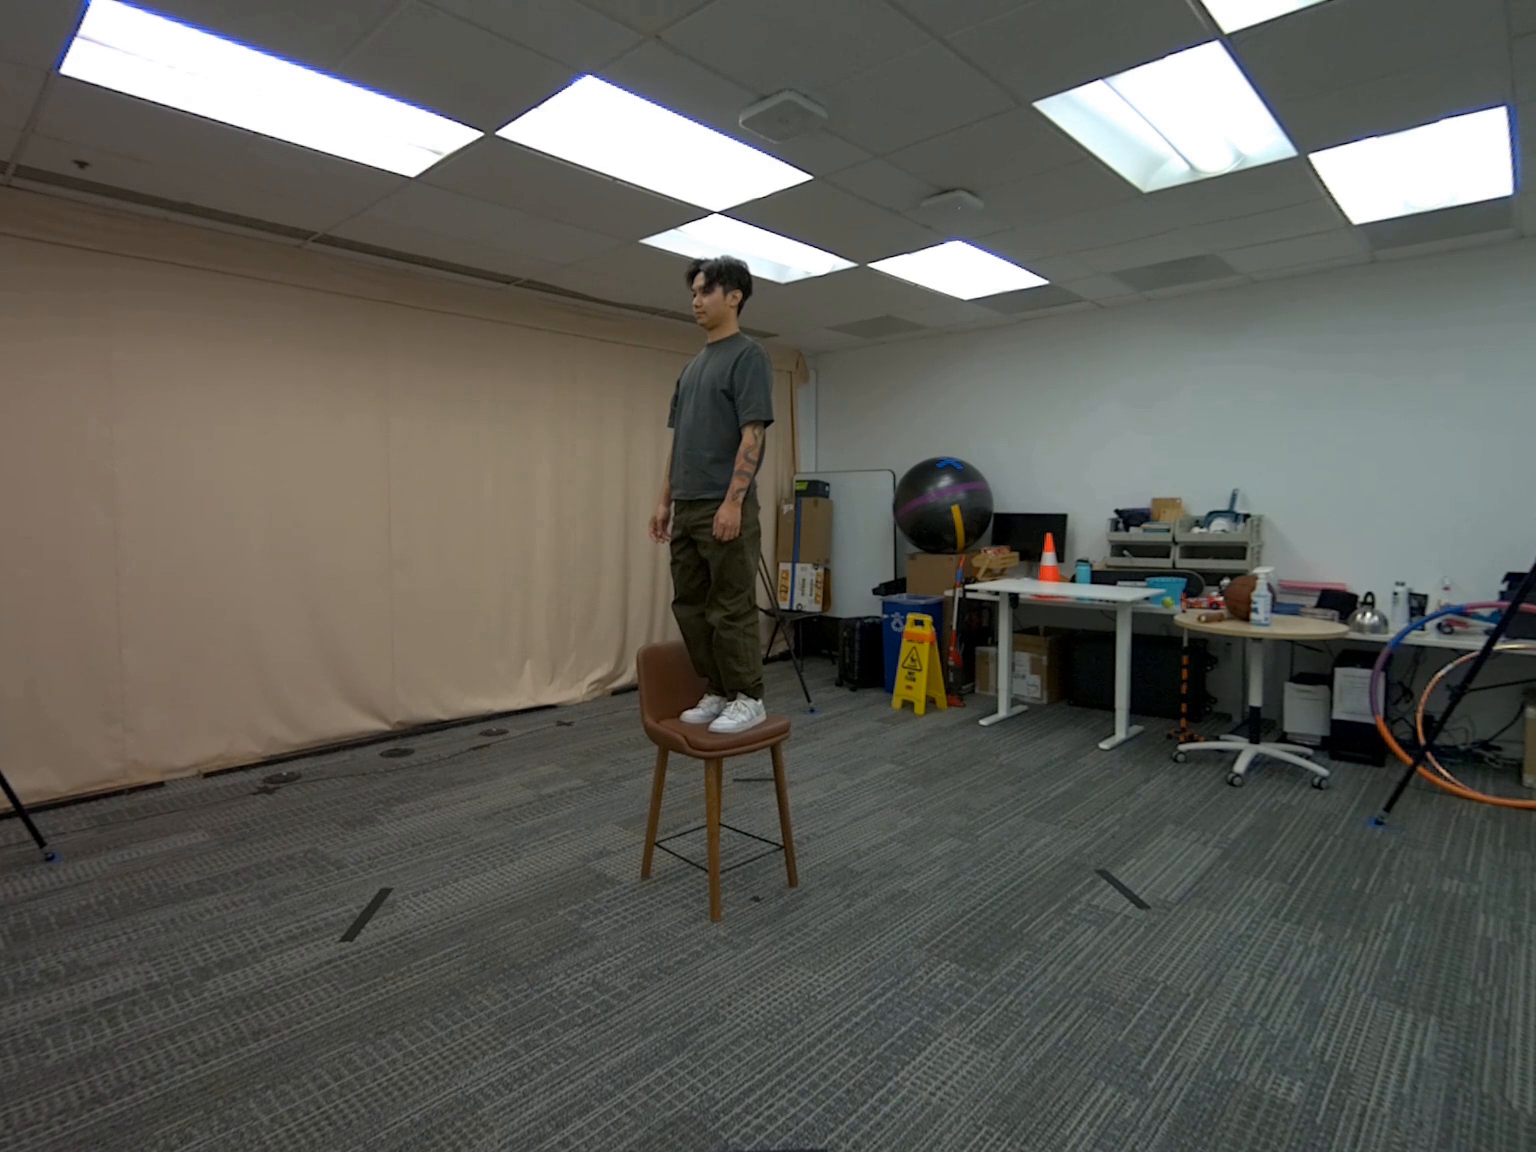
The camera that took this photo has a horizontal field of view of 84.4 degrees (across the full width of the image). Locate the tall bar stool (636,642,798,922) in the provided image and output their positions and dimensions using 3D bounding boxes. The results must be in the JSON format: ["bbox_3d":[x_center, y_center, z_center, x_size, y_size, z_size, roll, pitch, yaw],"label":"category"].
[{"bbox_3d":[-0.195,0.699,3.096,0.442,0.888,0.483,-3,3,-43],"label":"tall bar stool"}]
